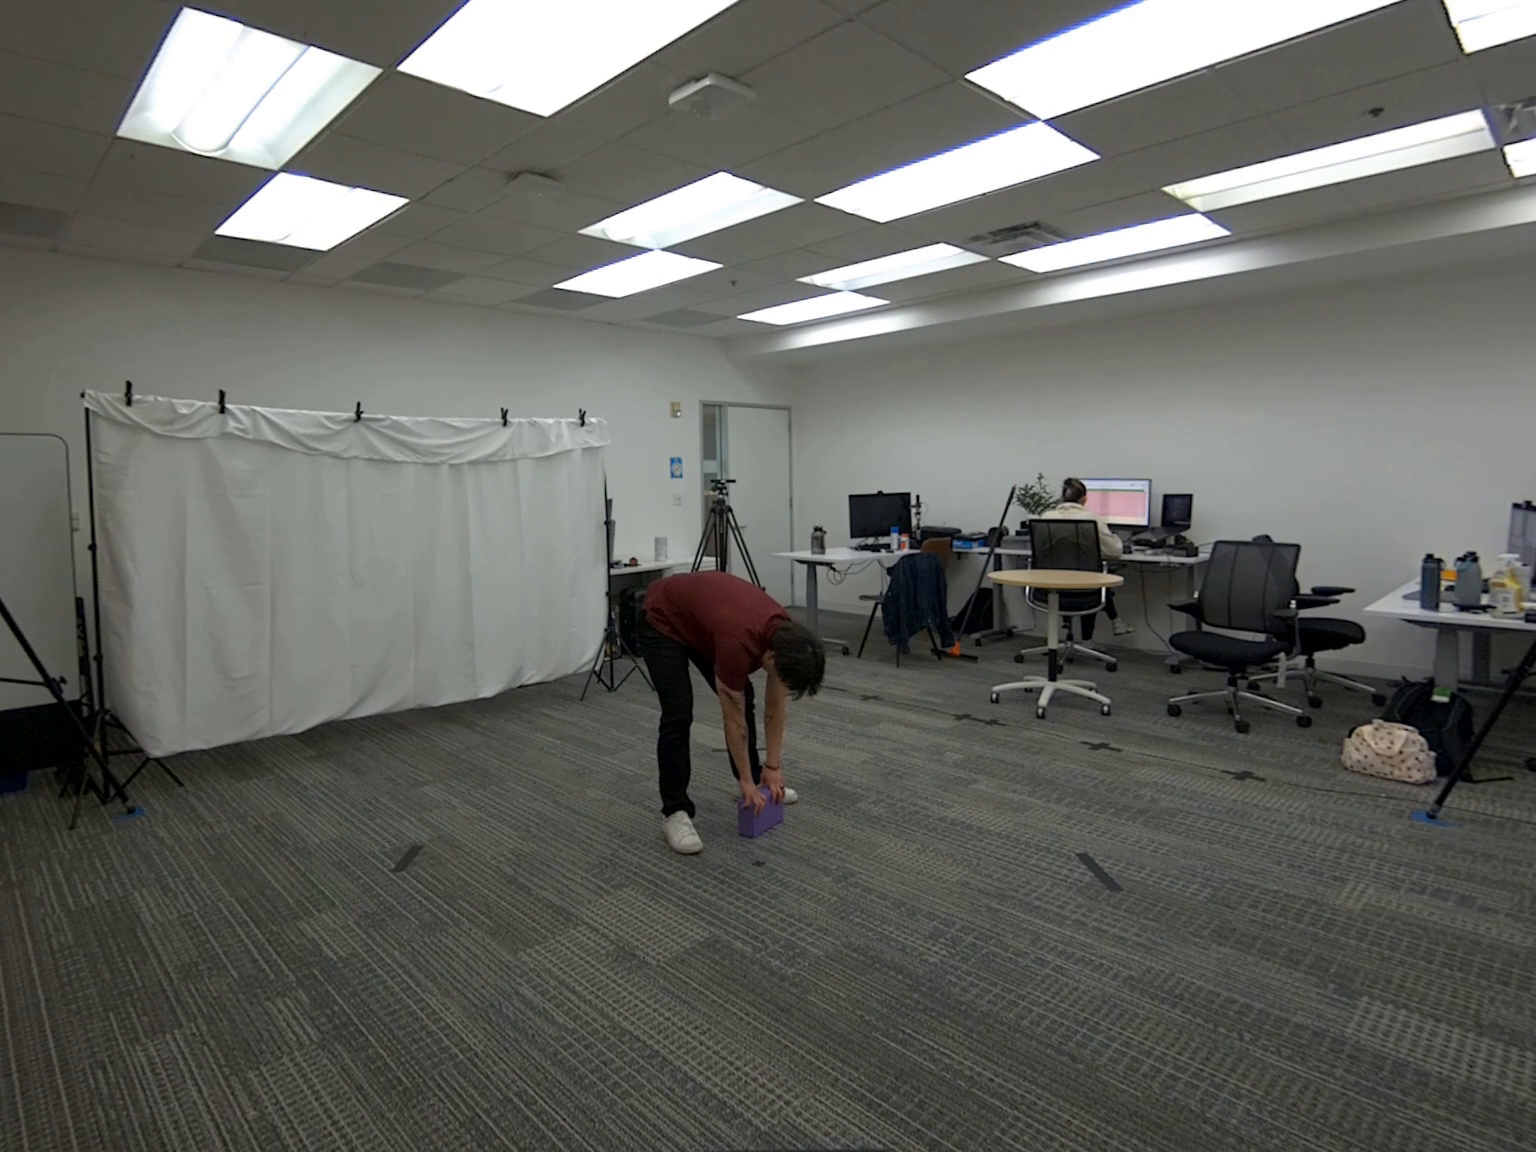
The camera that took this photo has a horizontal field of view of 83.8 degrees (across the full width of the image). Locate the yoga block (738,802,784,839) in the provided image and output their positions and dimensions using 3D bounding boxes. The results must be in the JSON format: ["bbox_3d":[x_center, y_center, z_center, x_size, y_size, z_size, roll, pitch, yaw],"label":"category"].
[{"bbox_3d":[-0.036,0.938,3.434,0.078,0.149,0.224,-2,3,34],"label":"yoga block"}]
